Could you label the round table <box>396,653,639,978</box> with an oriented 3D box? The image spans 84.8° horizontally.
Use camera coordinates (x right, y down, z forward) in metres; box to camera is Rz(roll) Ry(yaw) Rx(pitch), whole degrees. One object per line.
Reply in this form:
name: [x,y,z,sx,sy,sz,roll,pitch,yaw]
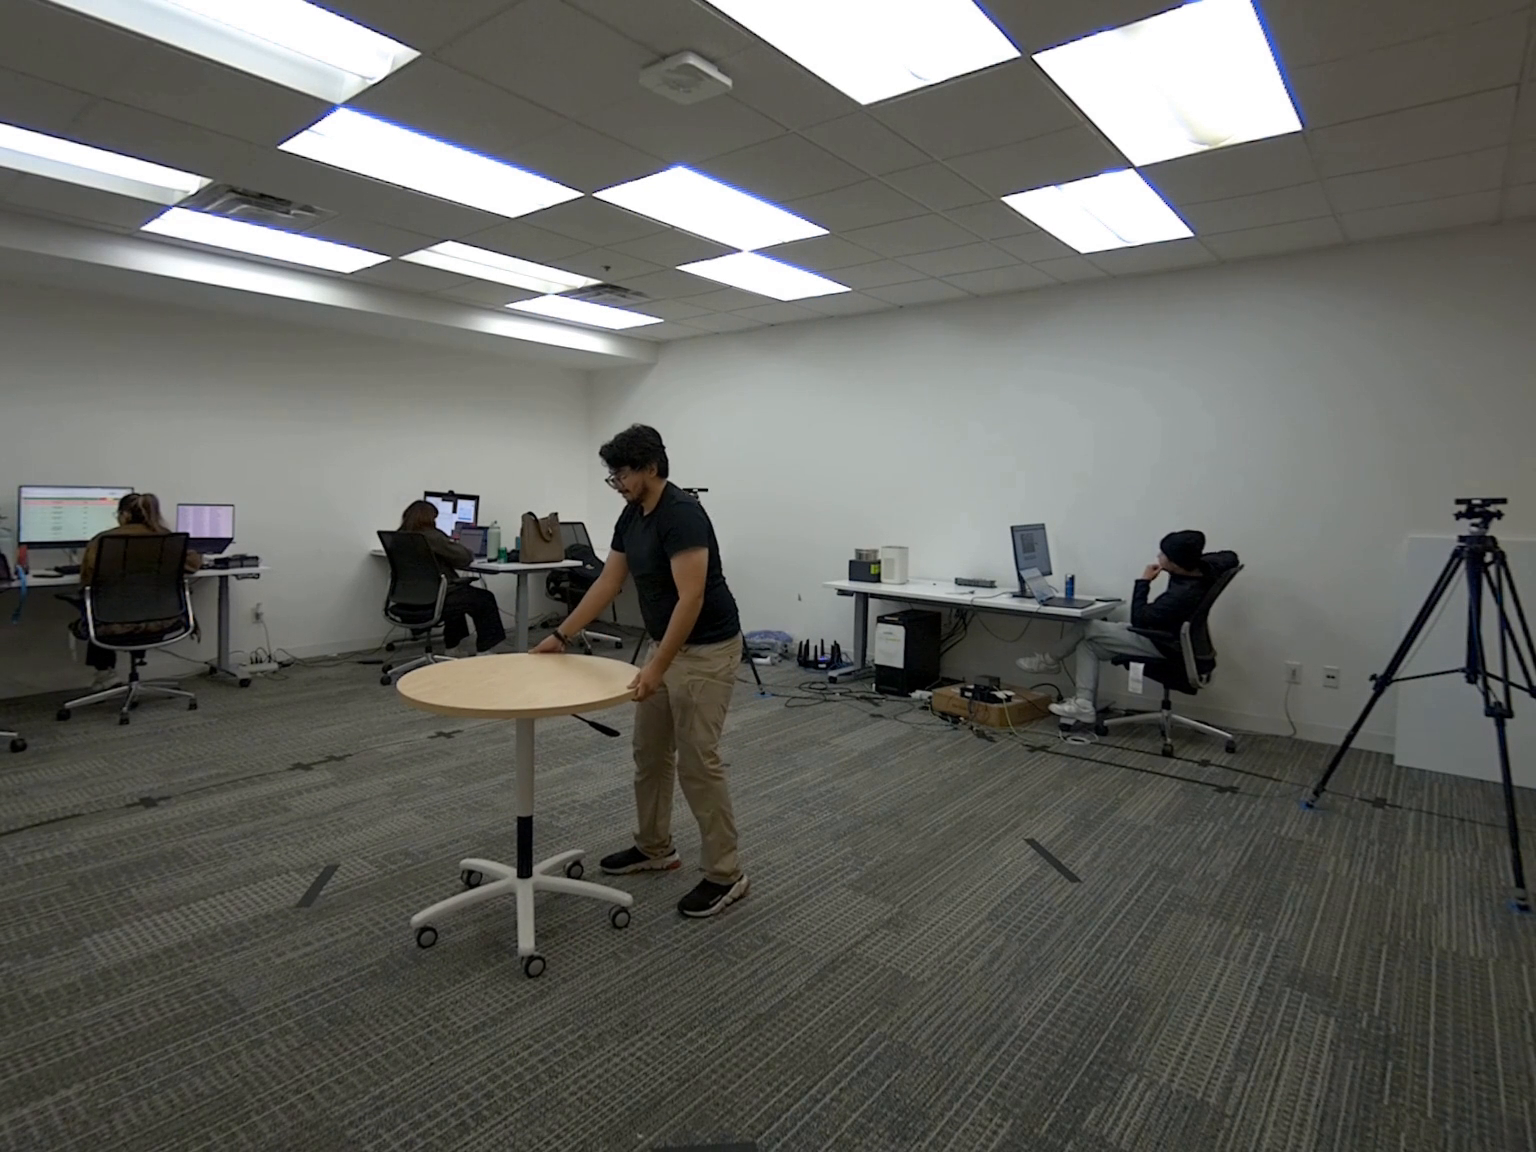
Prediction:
round table: [-0.792,0.704,2.730,0.784,0.783,0.789,1,5,-2]
